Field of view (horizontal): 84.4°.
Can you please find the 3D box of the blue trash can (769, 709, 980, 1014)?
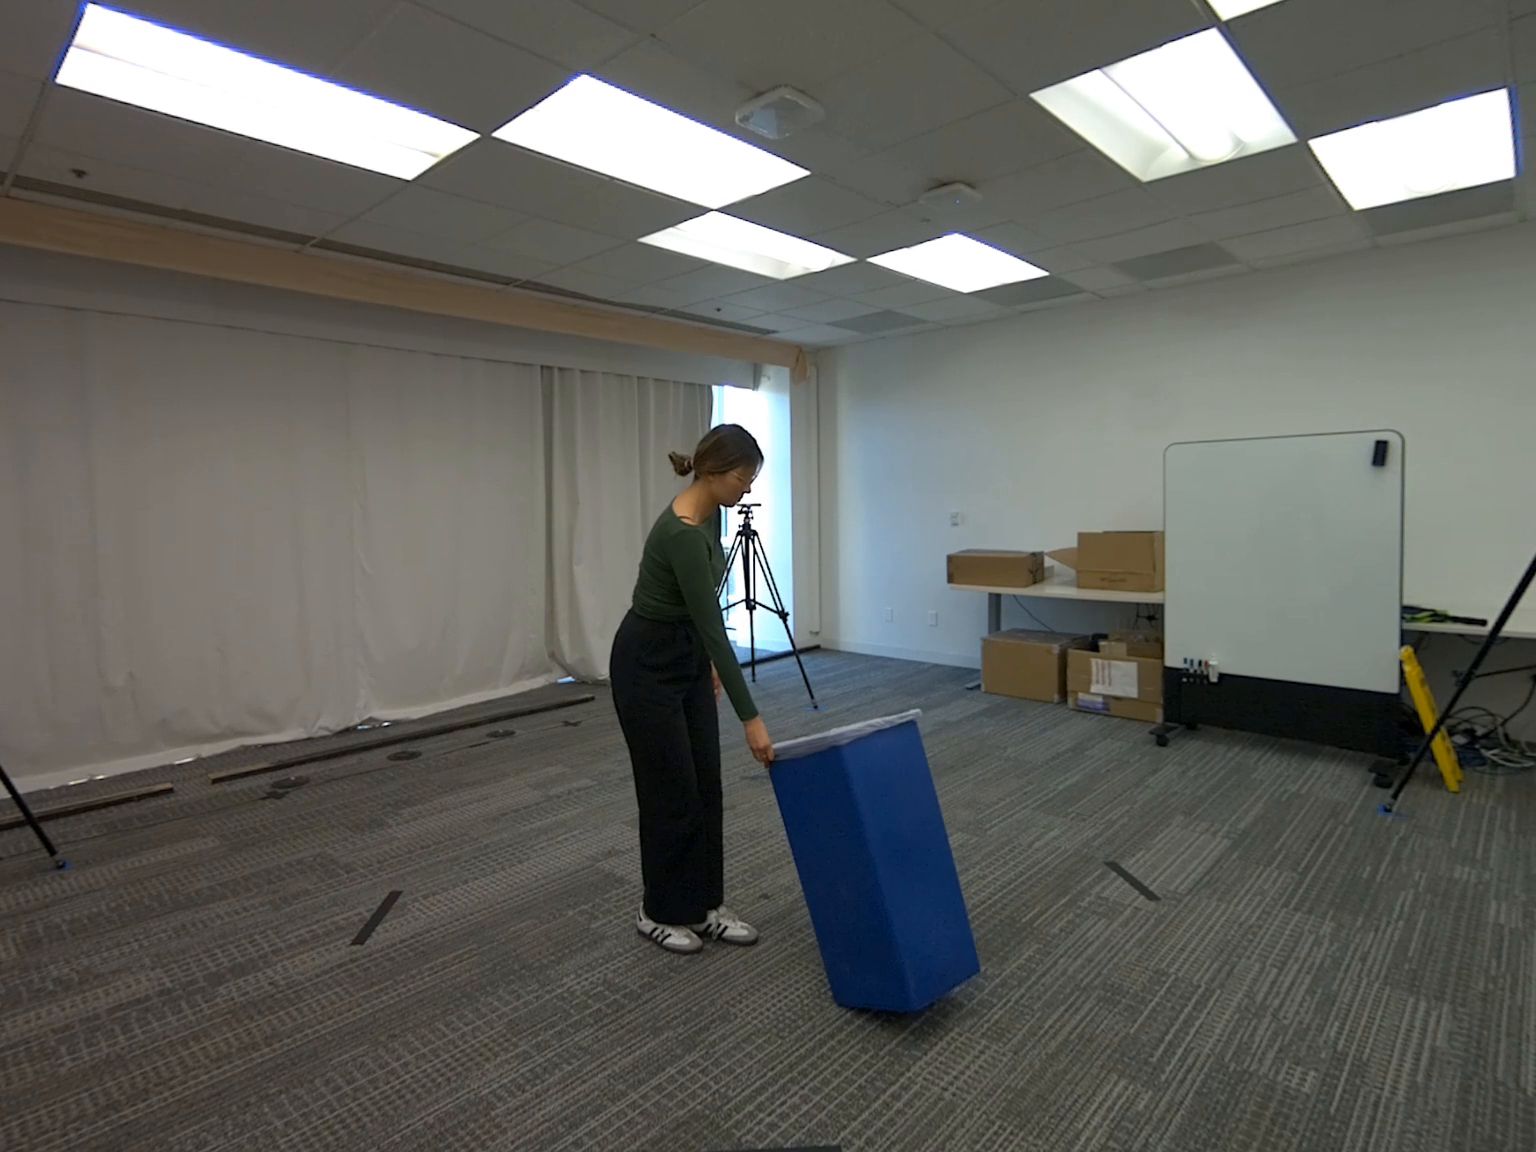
[{"bbox_3d":[0.314,0.791,2.399,0.366,0.722,0.381,-3,-17,-41],"label":"blue trash can"}]
